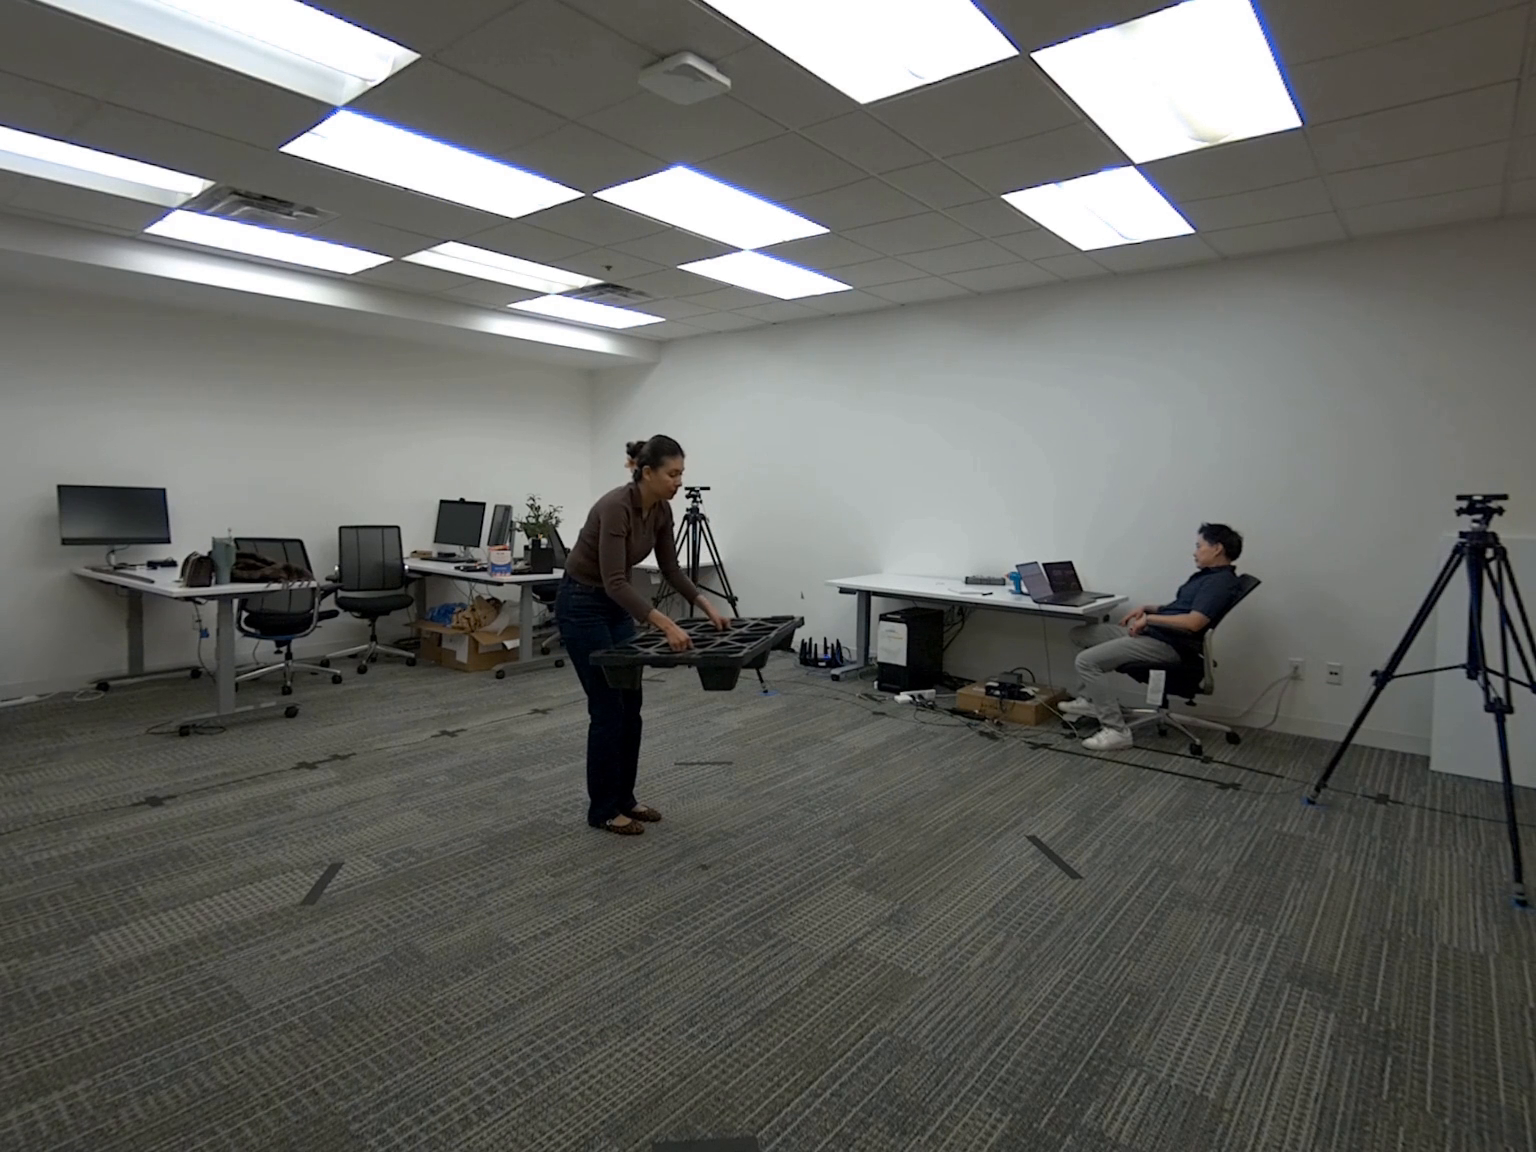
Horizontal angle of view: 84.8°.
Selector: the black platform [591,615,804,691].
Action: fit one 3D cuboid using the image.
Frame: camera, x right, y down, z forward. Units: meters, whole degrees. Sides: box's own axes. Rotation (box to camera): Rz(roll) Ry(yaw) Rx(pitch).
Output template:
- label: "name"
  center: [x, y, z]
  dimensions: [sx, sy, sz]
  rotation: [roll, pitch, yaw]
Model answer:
- label: "black platform"
  center: [-0.256, 0.295, 3.344]
  dimensions: [0.618, 0.142, 0.793]
  rotation: [-2, 7, 20]
